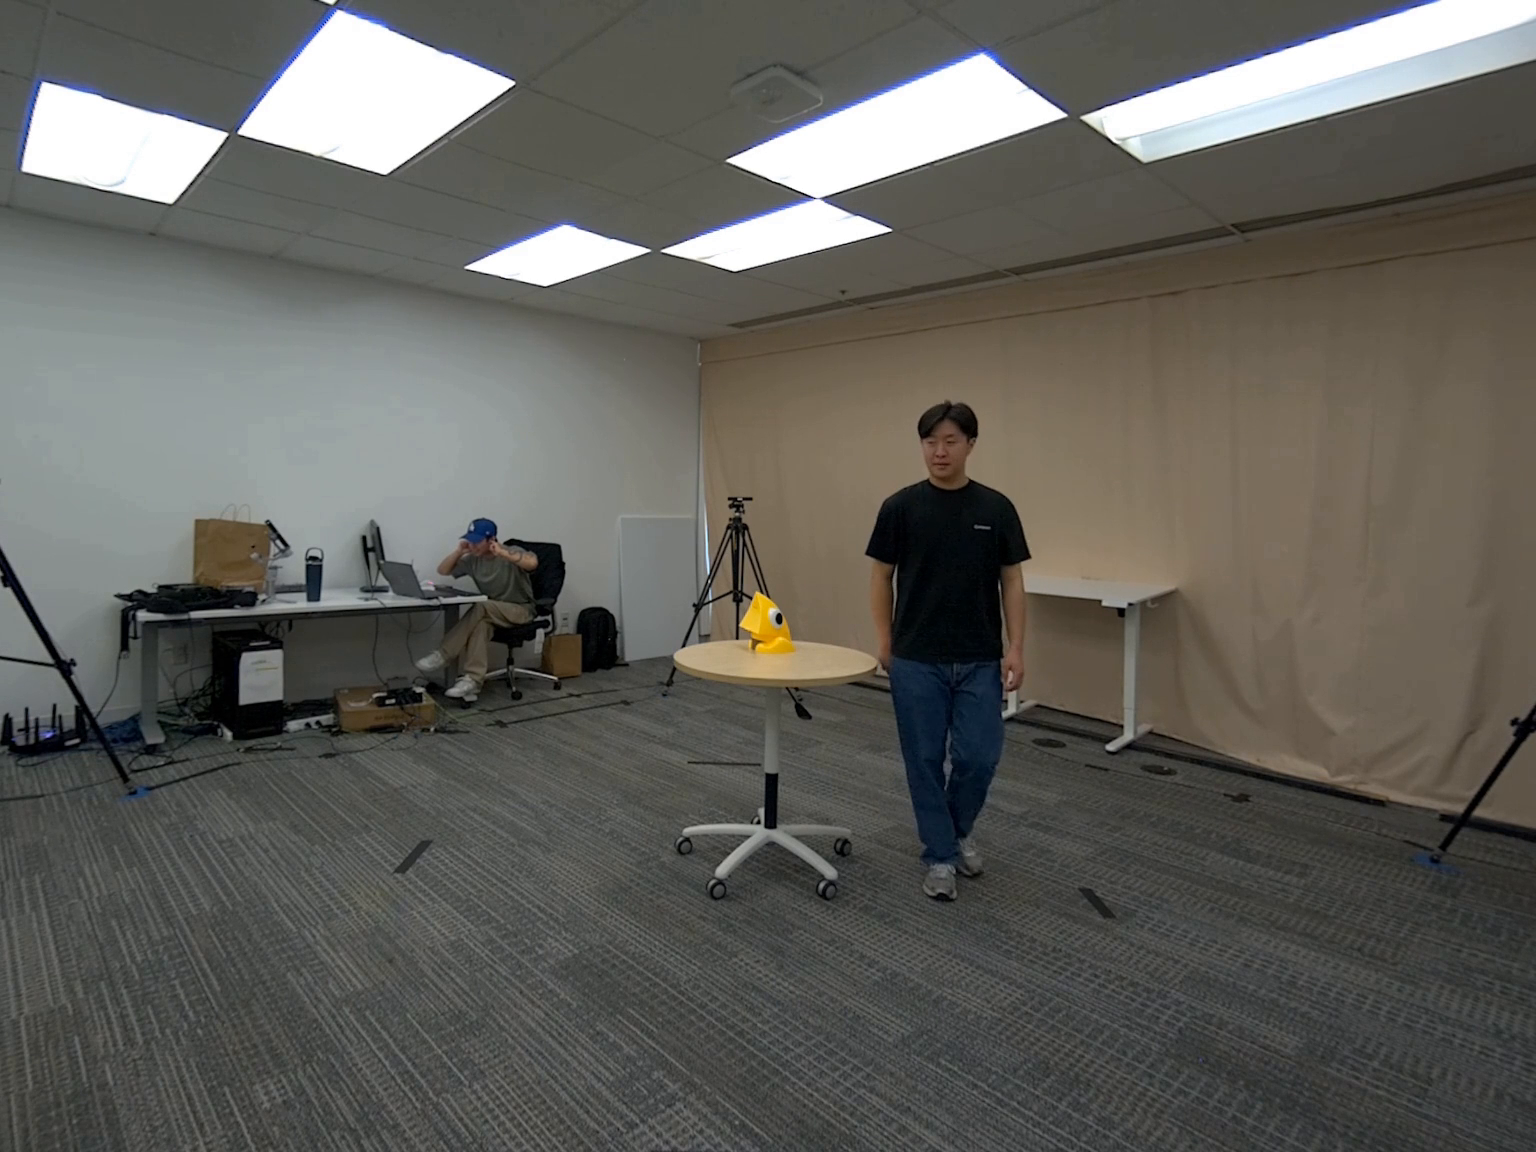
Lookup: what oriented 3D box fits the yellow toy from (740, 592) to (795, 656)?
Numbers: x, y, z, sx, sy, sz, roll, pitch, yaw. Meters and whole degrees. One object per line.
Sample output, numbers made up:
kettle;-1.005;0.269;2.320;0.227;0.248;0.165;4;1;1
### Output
yellow toy;-0.002;0.175;3.357;0.190;0.230;0.208;-1;5;-21
